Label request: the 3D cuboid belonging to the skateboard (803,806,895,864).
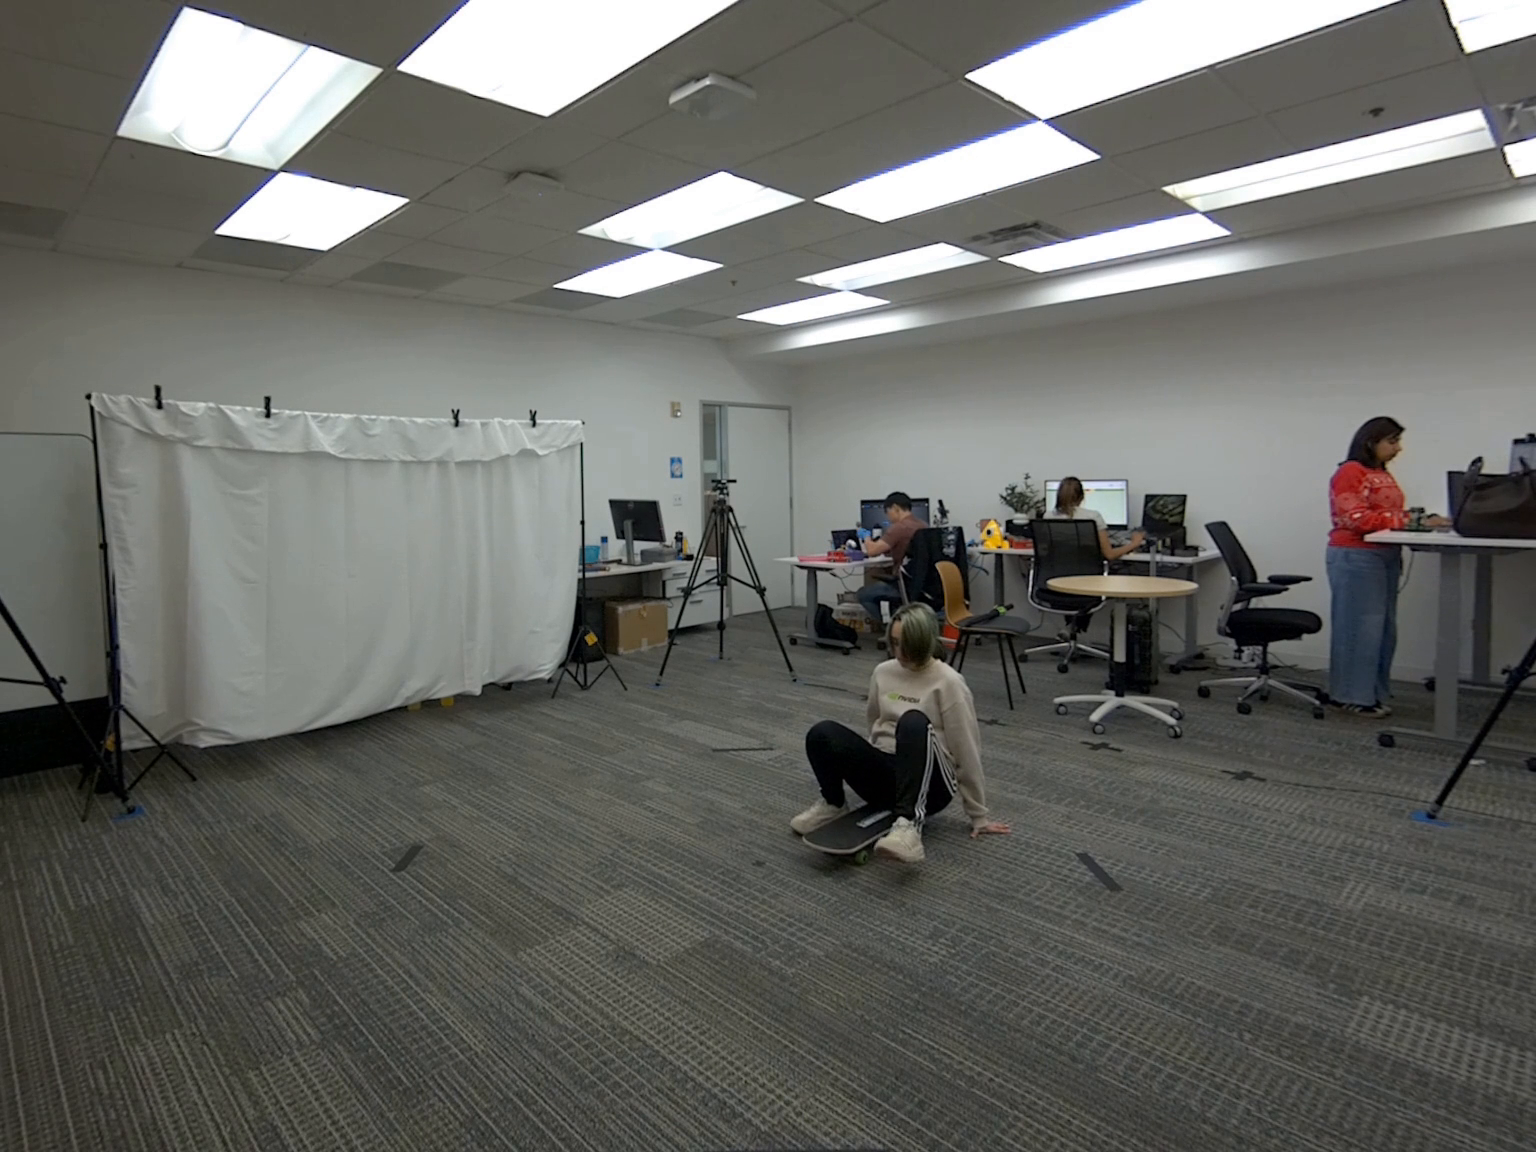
[{"bbox_3d":[0.400,0.967,3.283,0.200,0.110,0.764,9,10,40],"label":"skateboard"}]
